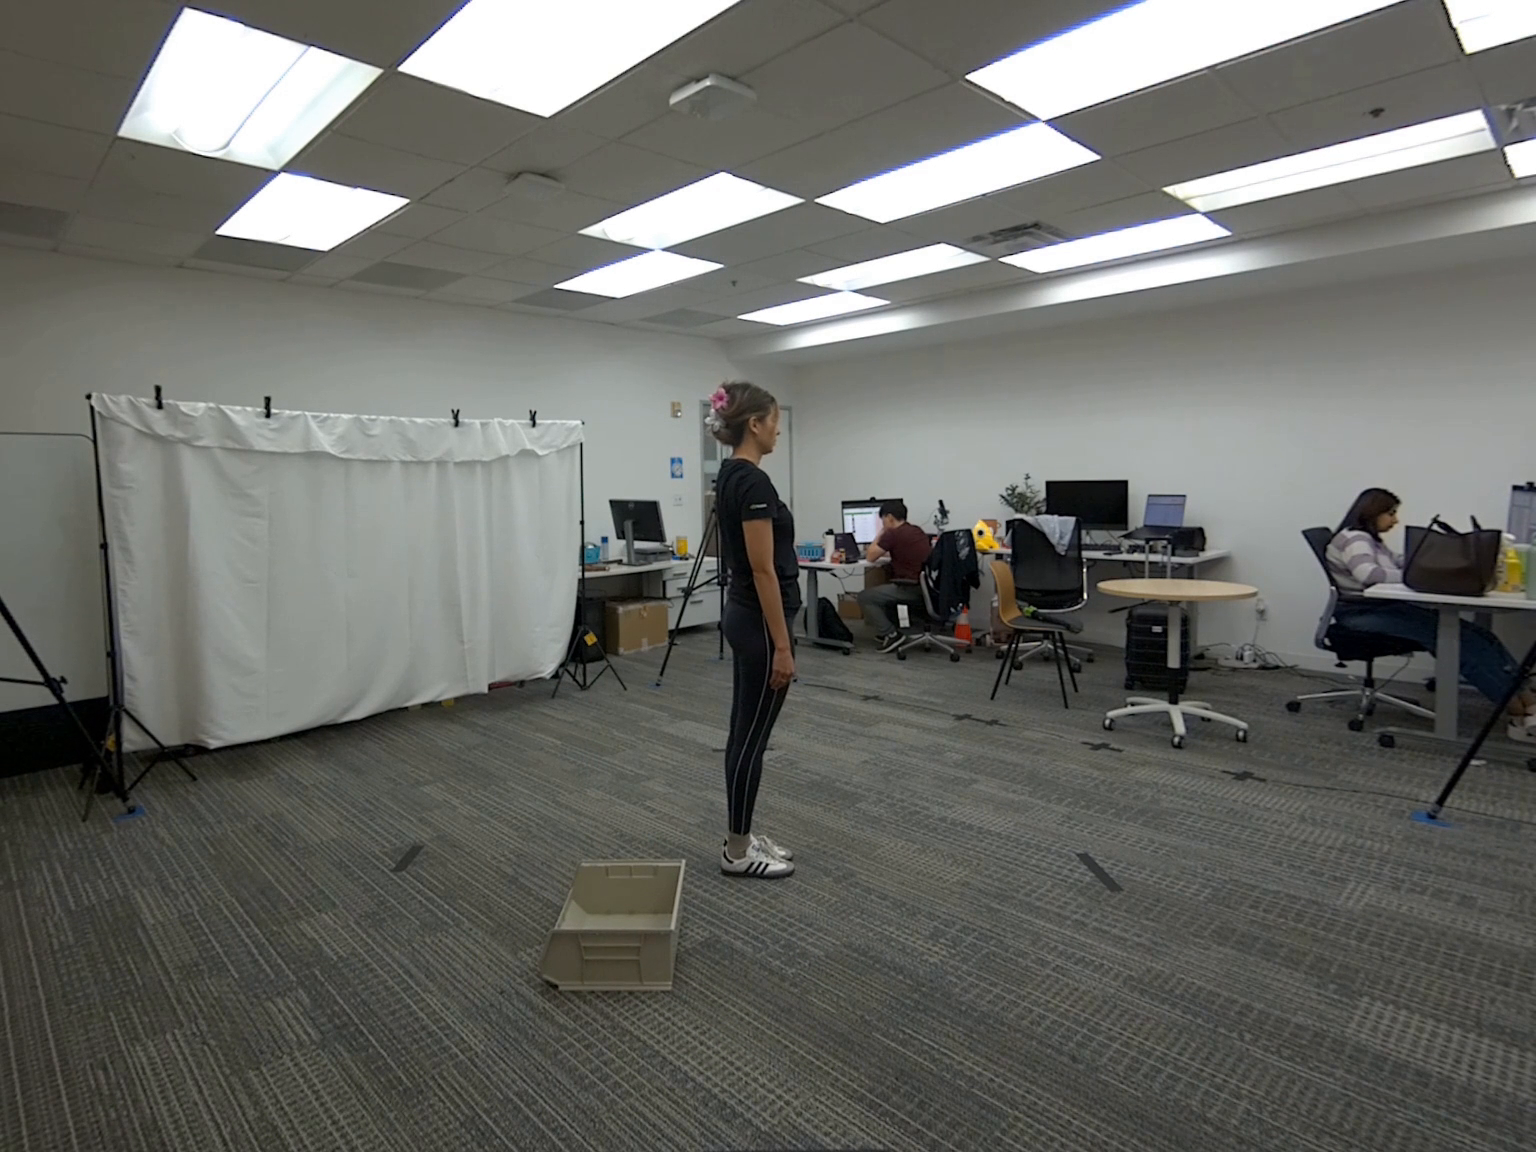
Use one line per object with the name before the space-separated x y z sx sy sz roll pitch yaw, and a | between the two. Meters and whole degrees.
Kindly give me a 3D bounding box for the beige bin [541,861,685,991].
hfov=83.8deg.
beige bin | -0.445 1.033 2.549 0.378 0.188 0.424 0 6 0
